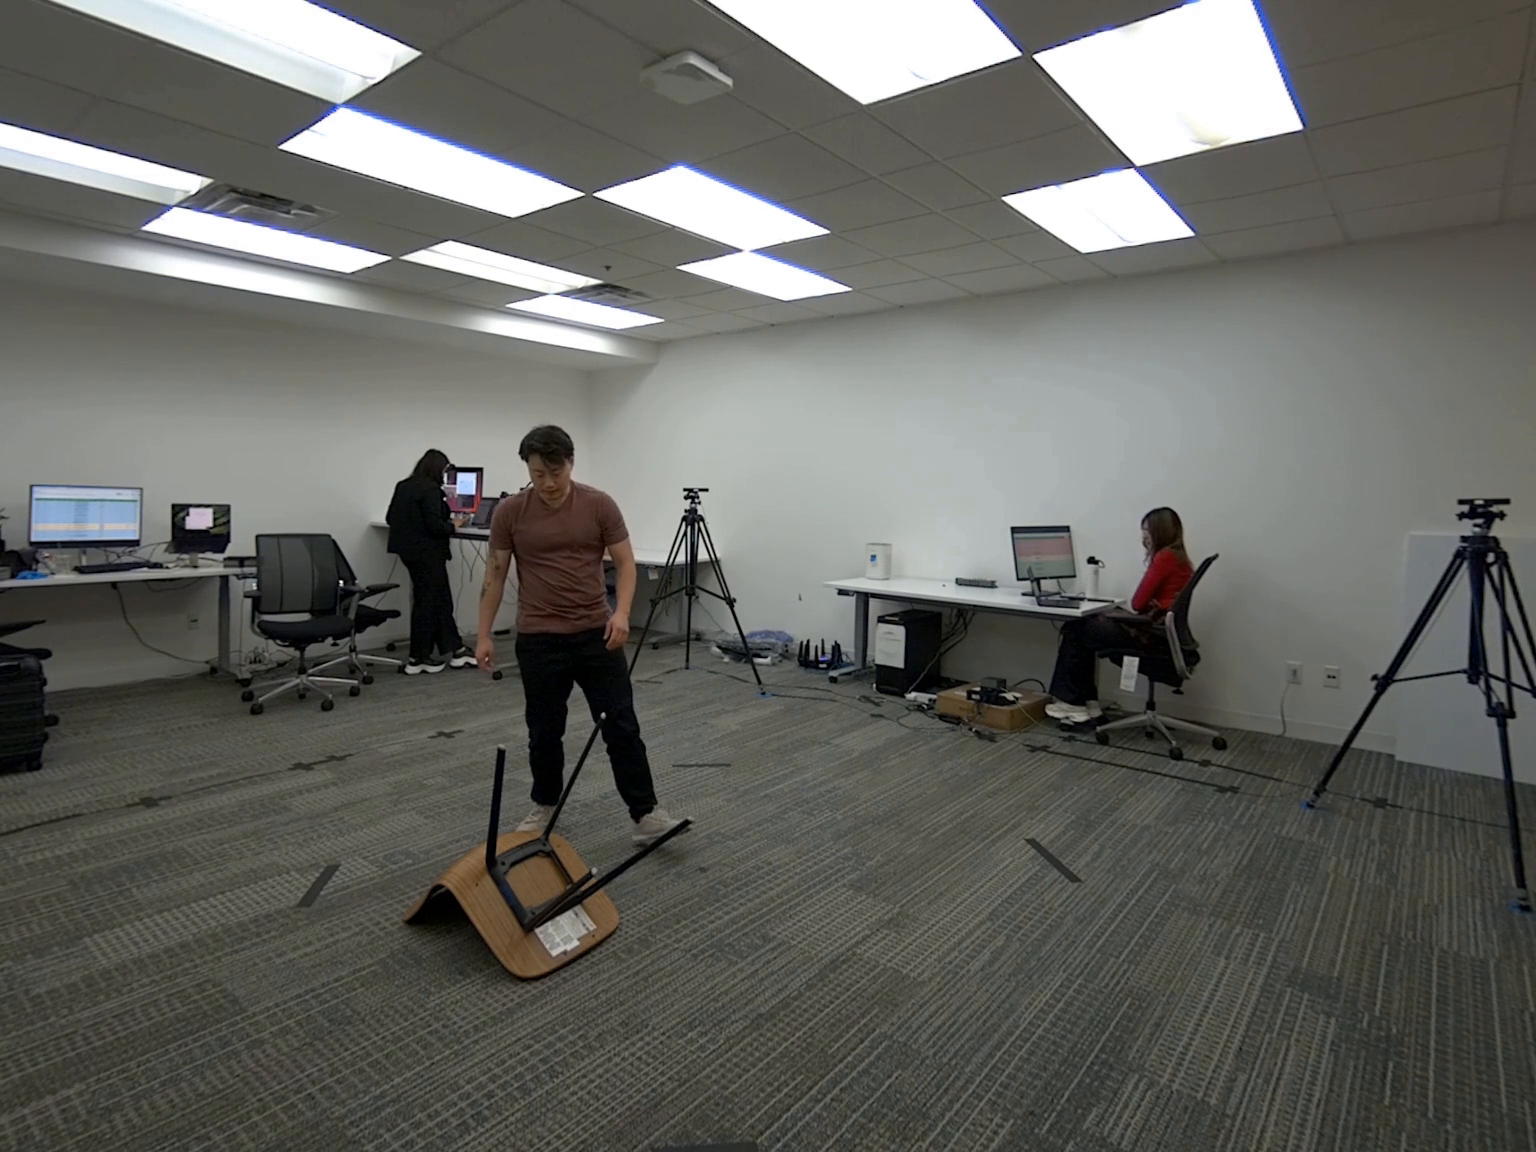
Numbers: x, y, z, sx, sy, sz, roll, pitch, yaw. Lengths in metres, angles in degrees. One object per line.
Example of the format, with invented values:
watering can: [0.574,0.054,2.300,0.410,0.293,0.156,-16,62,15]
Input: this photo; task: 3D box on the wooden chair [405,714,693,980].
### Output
wooden chair: [-0.719,0.937,2.622,0.539,0.875,0.465,47,24,20]
